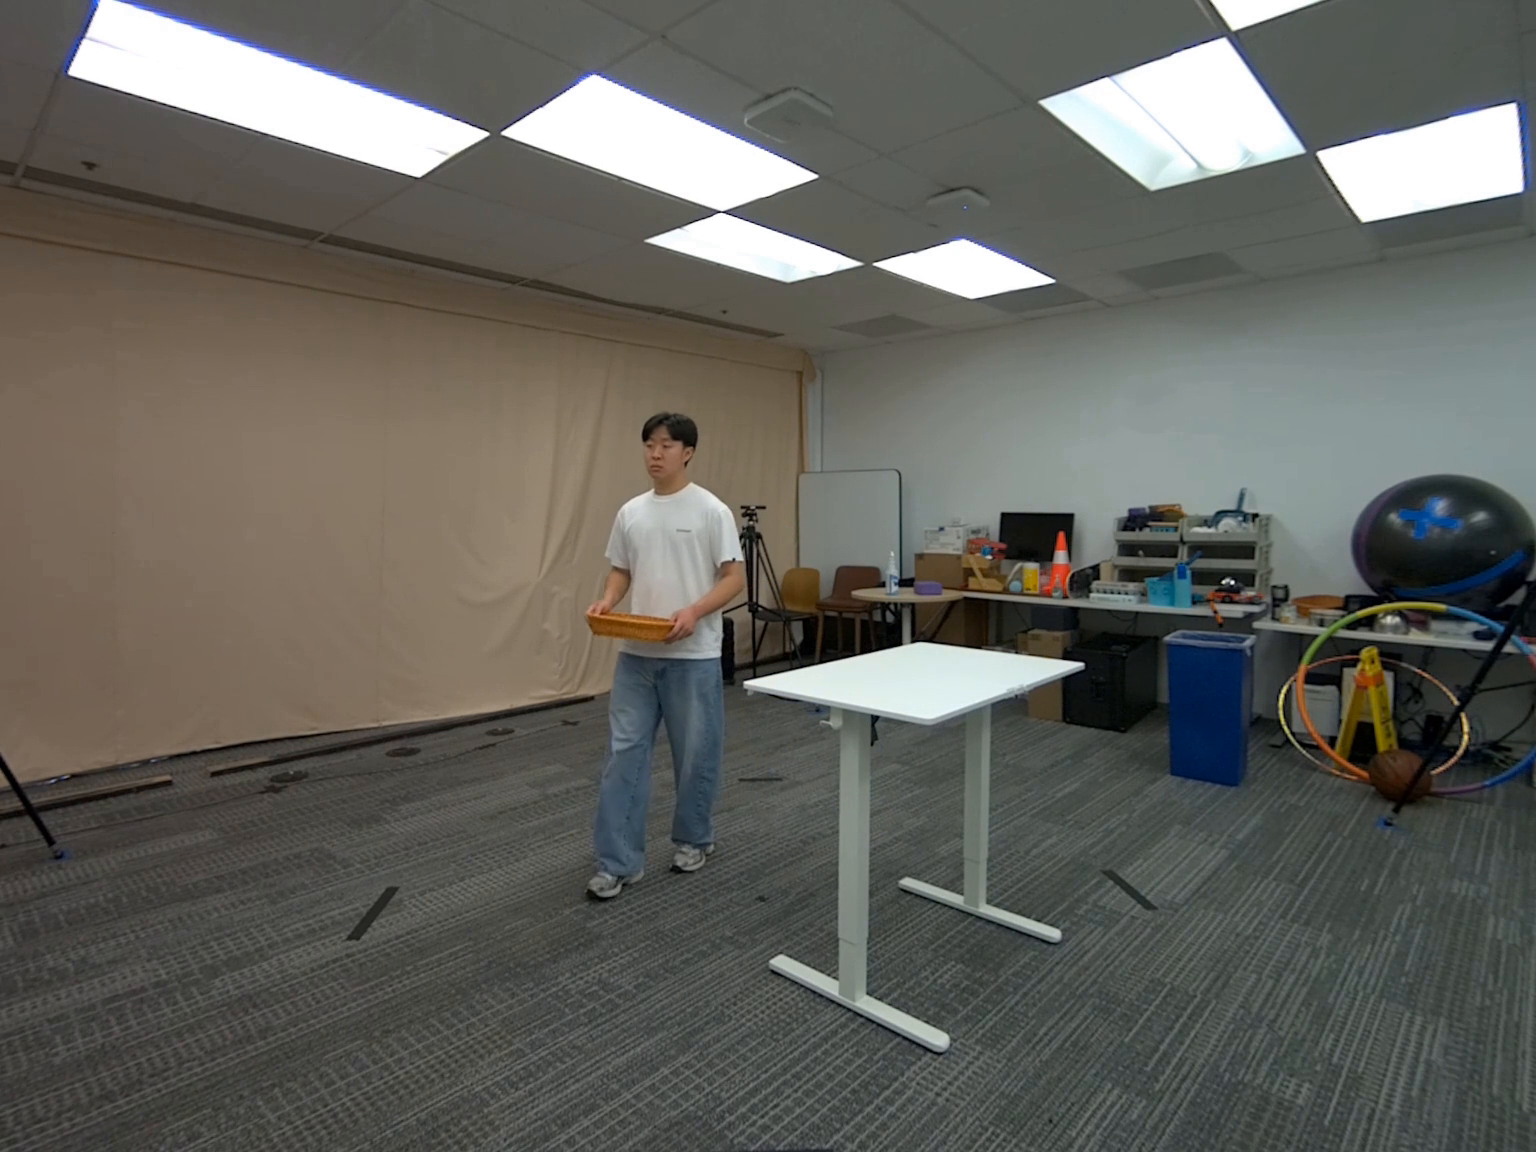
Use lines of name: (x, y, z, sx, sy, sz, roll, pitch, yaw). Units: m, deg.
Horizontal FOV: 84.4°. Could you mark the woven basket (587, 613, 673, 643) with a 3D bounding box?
woven basket: (-0.473, 0.180, 3.004, 0.362, 0.073, 0.244, 5, 1, 37)
